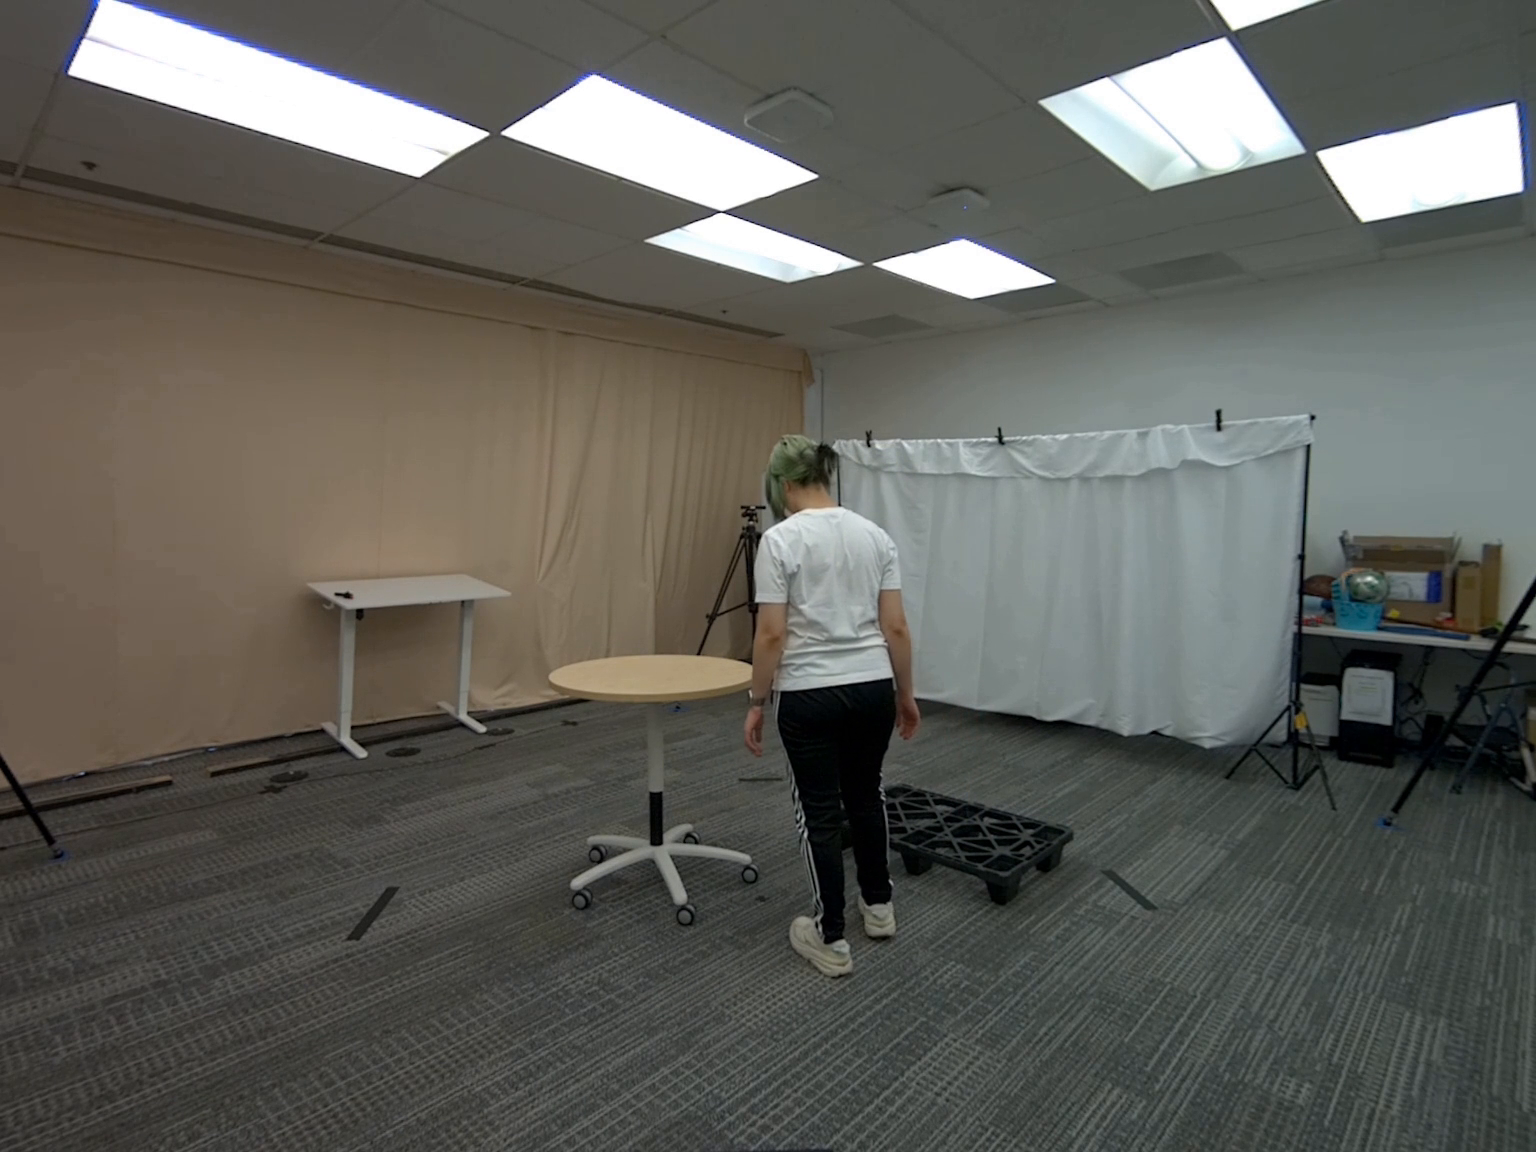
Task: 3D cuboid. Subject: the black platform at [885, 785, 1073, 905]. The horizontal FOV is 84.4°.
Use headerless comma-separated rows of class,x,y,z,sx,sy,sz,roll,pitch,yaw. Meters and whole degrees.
black platform,0.700,1.046,3.344,0.832,0.143,0.586,4,6,42
